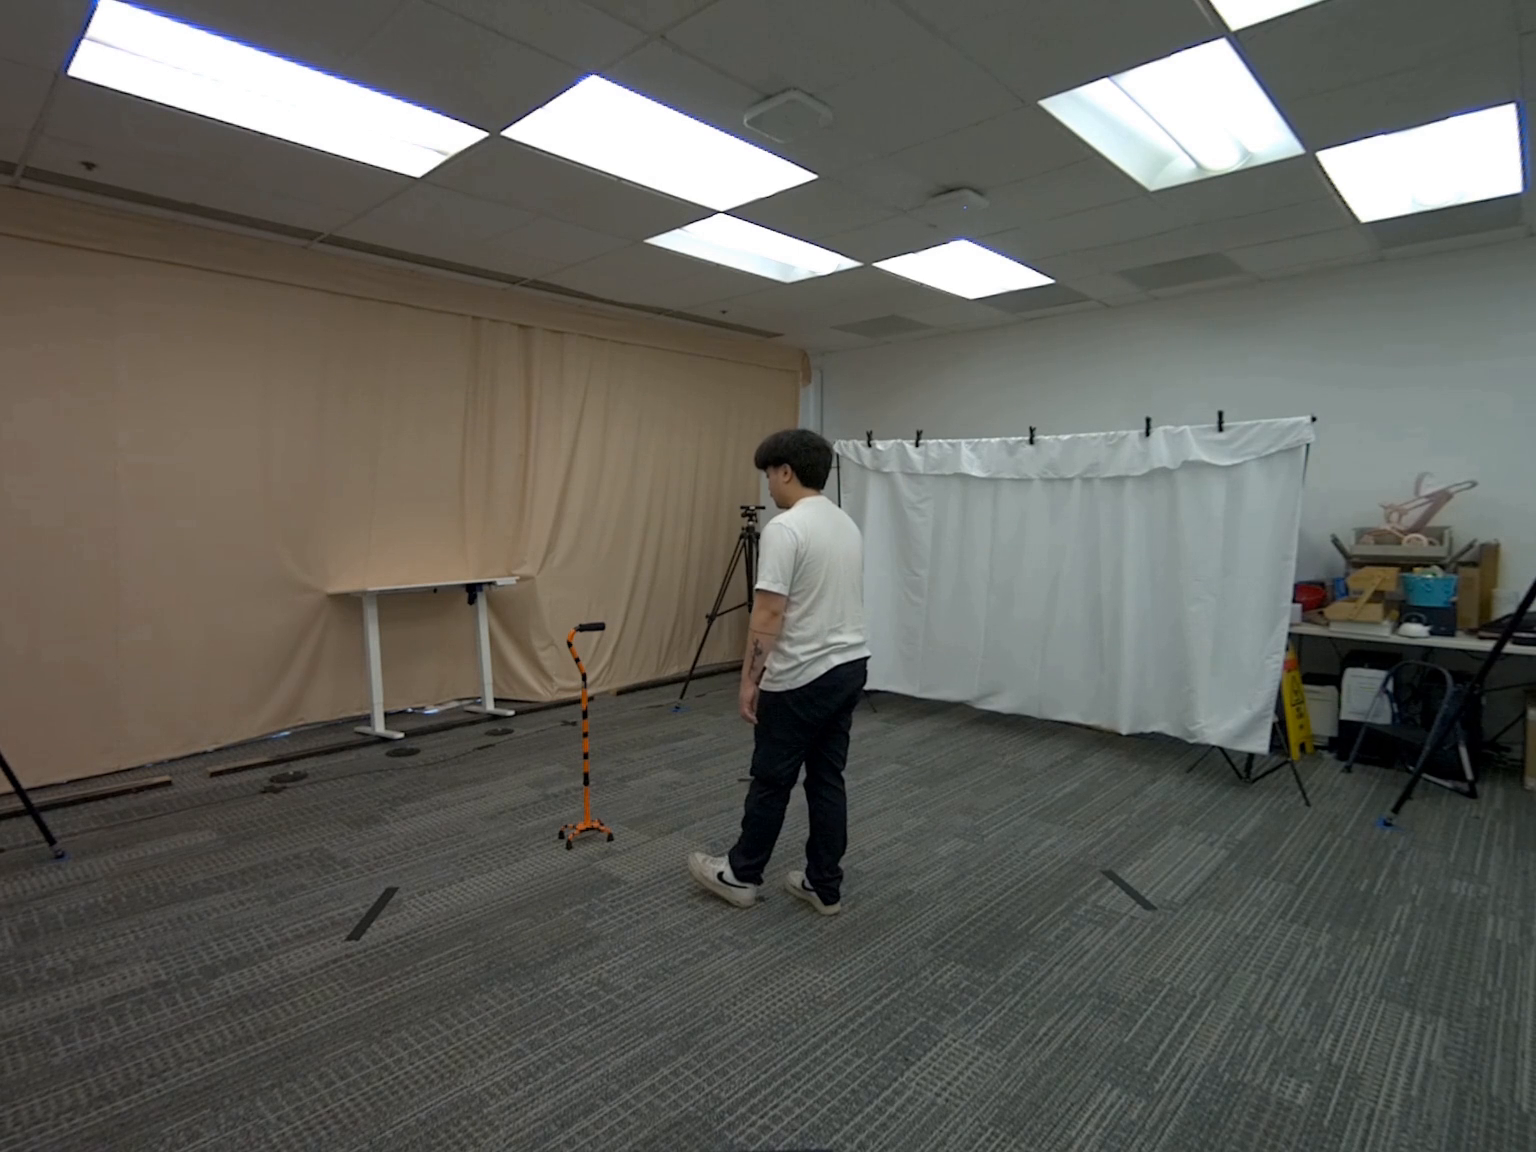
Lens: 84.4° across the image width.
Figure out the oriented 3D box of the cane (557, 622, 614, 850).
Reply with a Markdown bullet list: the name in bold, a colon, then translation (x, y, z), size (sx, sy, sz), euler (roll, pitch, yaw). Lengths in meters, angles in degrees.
- **cane**: translation (-0.768, 0.657, 3.517), size (0.201, 0.906, 0.156), euler (-2, 3, -27)
